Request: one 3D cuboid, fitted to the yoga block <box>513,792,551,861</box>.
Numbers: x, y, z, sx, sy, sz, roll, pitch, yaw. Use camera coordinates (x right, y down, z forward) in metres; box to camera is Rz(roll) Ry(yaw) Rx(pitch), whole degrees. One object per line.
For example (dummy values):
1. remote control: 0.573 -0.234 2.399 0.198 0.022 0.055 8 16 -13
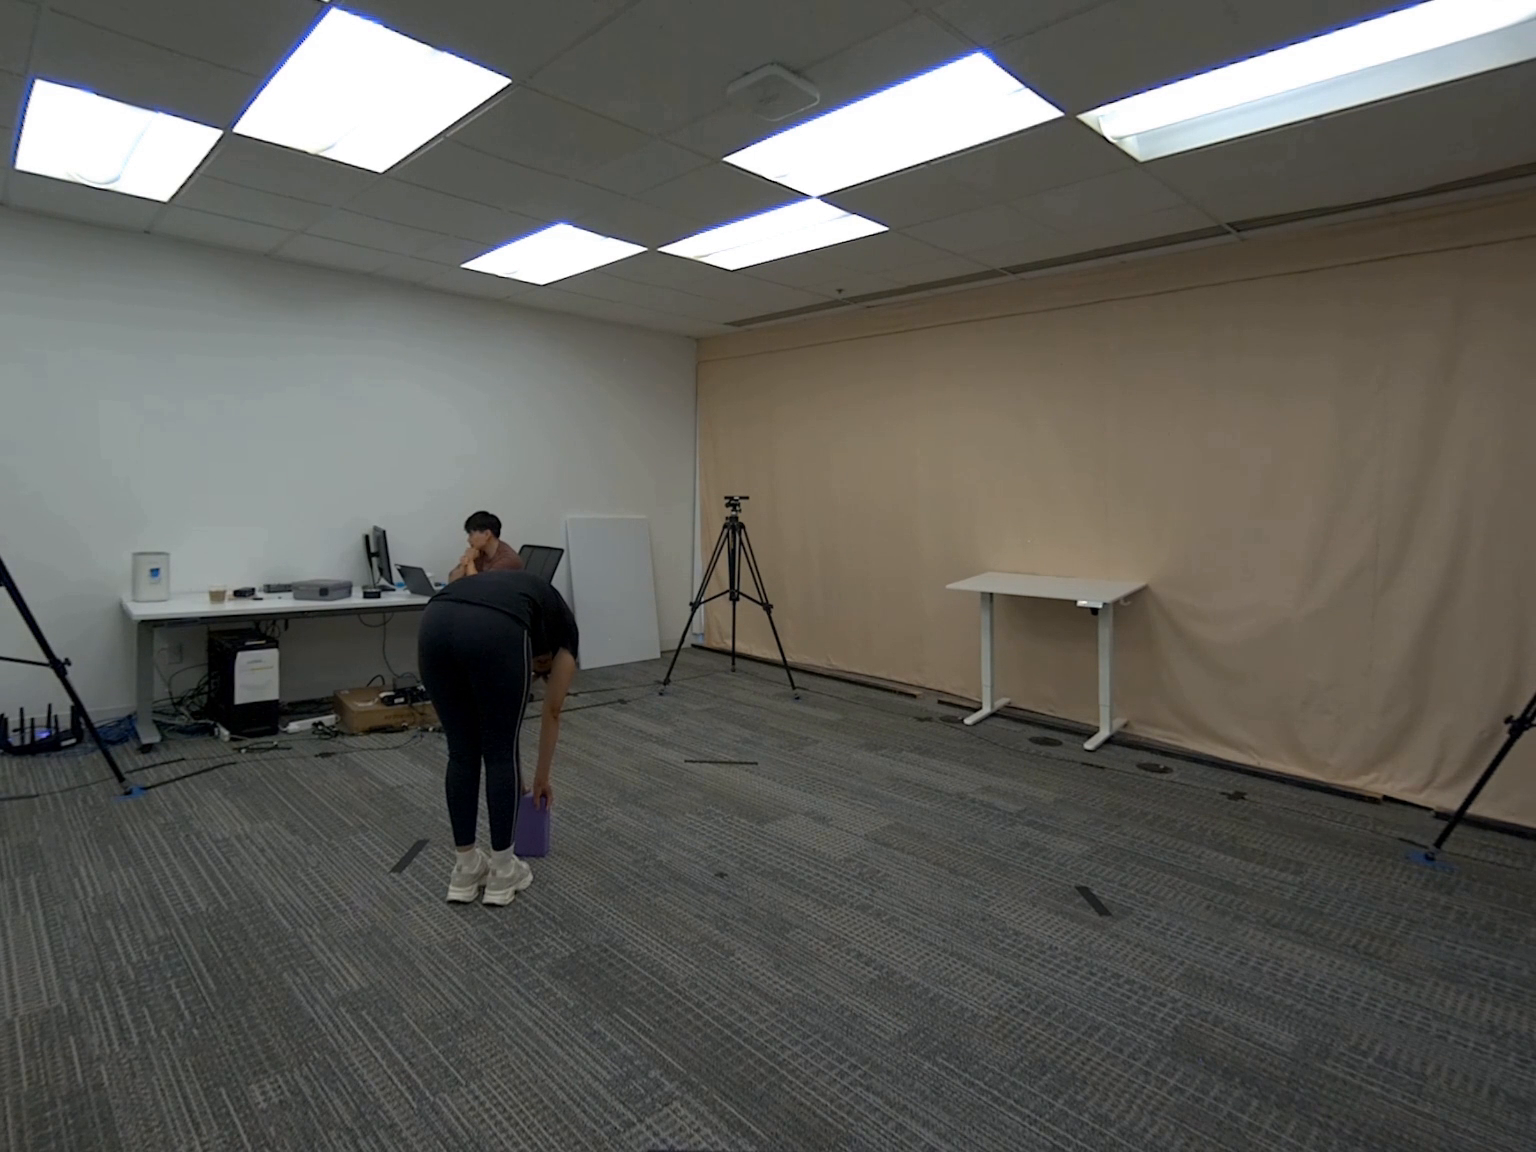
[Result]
1. yoga block: -0.931 0.965 3.255 0.150 0.229 0.076 3 4 6
